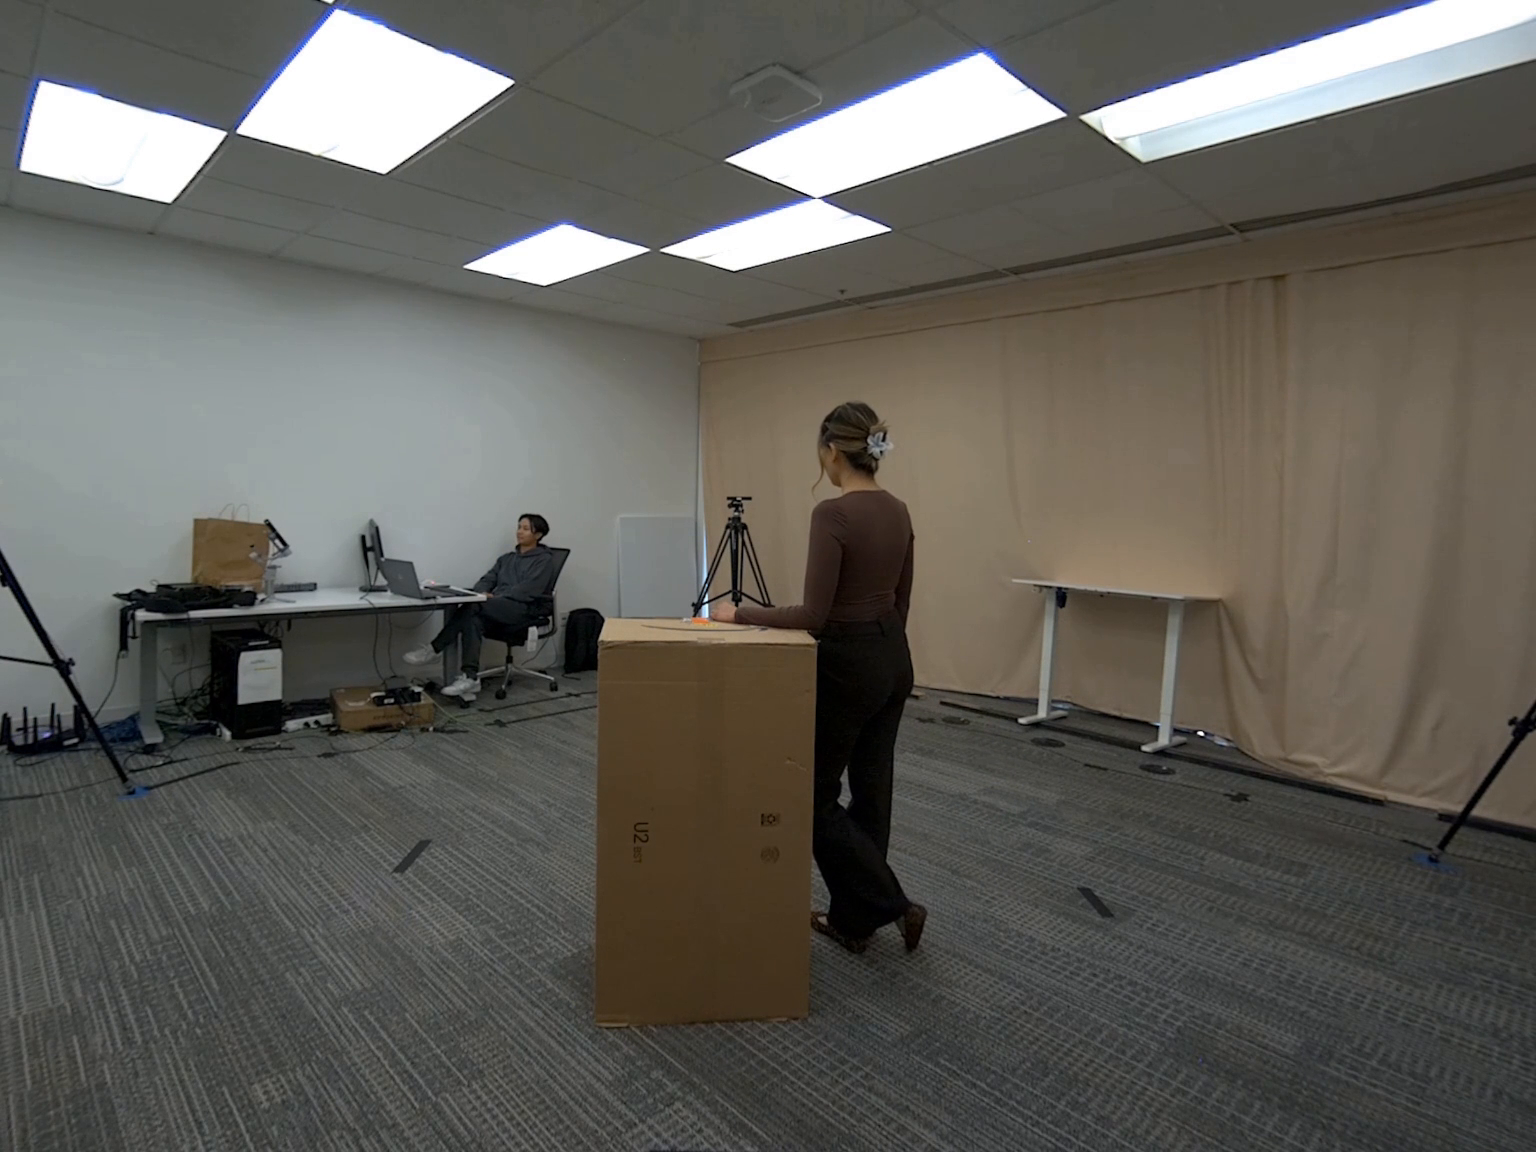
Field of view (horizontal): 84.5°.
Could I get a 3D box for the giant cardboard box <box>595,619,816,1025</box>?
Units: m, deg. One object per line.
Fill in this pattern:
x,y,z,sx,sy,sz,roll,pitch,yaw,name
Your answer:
-0.202,0.660,2.412,0.581,1.024,0.450,1,4,-7,giant cardboard box
